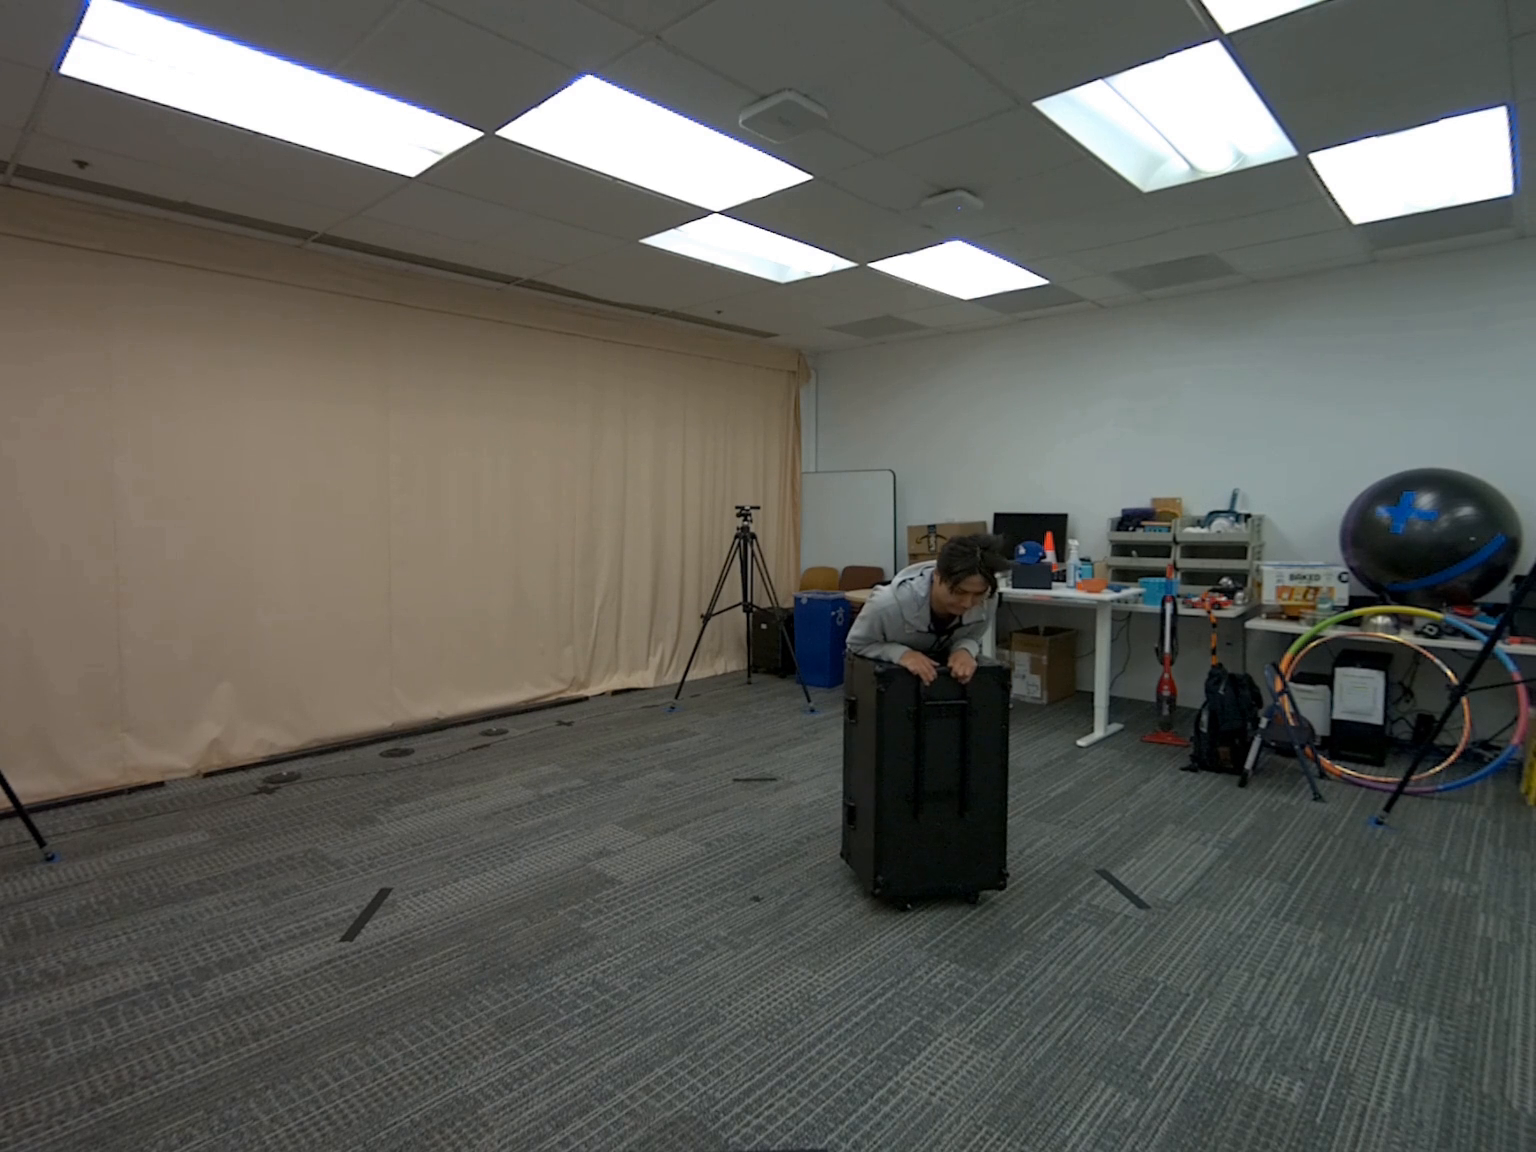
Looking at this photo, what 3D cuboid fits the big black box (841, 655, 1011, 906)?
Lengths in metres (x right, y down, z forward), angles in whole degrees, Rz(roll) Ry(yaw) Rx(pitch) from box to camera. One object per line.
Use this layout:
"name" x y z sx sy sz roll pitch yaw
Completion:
"big black box" 0.569 0.718 3.004 0.516 0.859 0.401 0 4 -10
